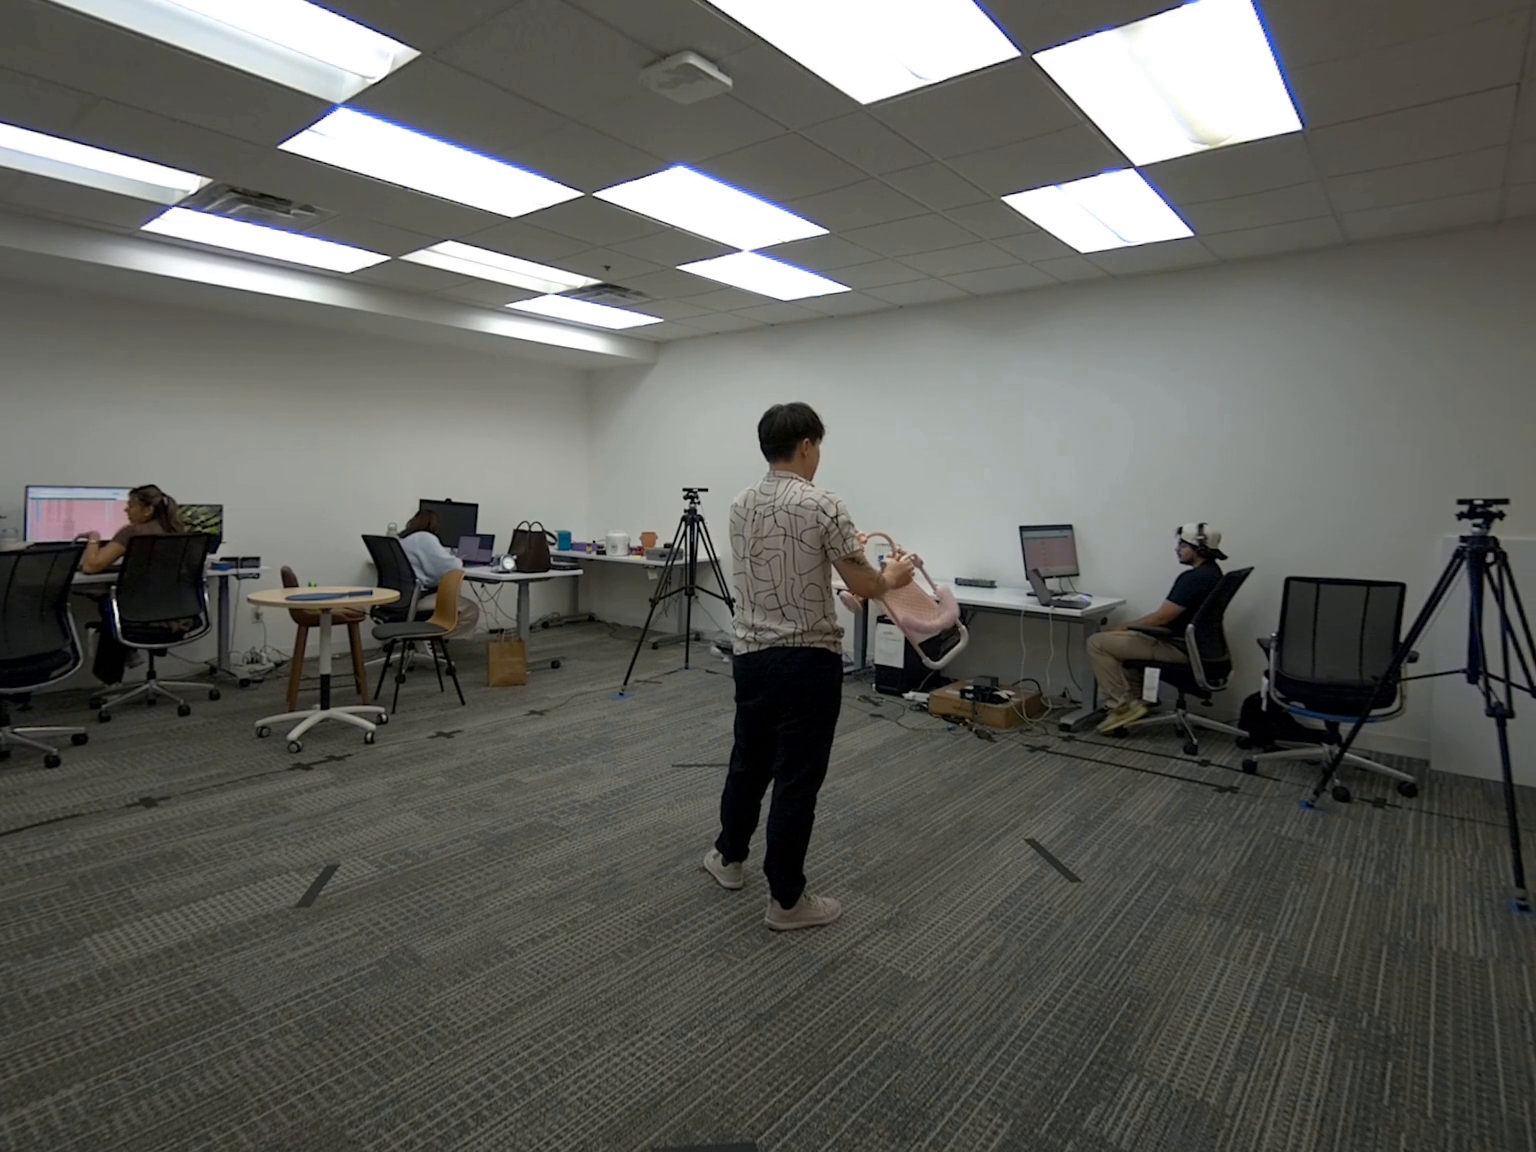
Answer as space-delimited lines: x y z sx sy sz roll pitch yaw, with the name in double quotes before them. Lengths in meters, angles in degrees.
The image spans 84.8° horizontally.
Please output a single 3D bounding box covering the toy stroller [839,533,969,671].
"toy stroller" 0.469 0.045 3.107 0.280 0.330 0.557 -35 54 -17
